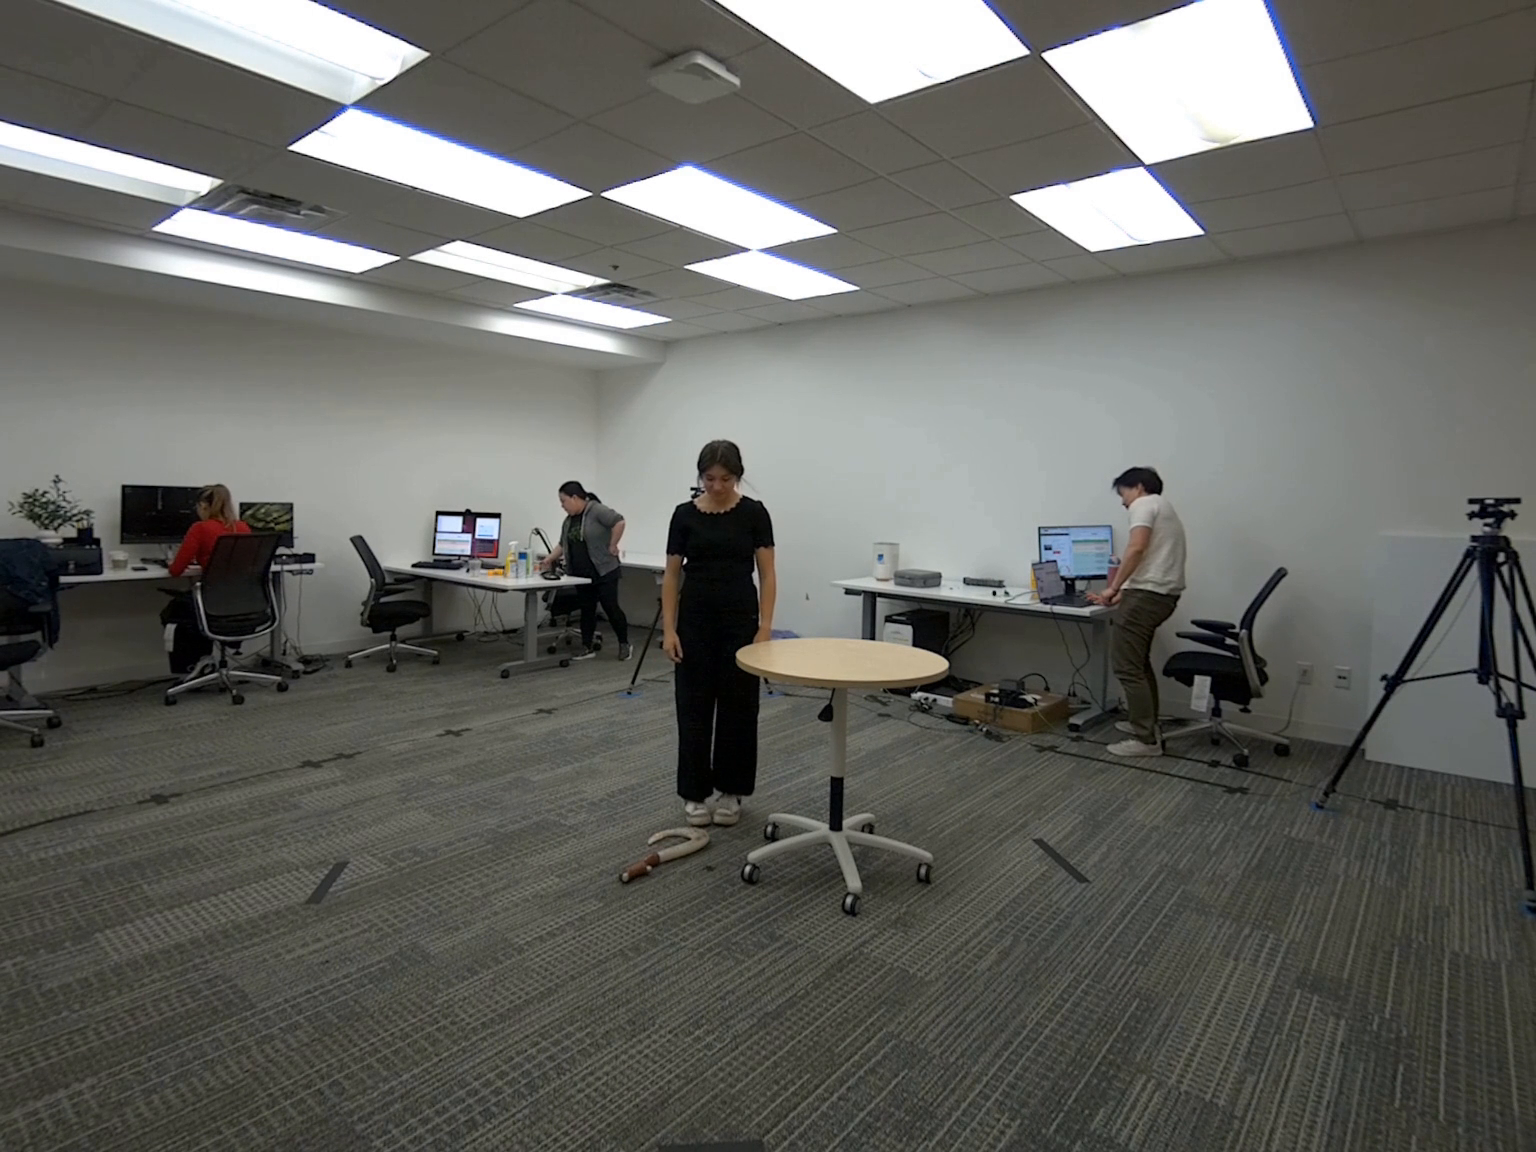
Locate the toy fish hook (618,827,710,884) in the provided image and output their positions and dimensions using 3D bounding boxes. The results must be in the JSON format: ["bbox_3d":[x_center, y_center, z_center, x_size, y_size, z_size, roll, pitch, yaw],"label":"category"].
[{"bbox_3d":[-0.428,1.037,3.207,0.231,0.048,0.492,-5,0,34],"label":"toy fish hook"}]
